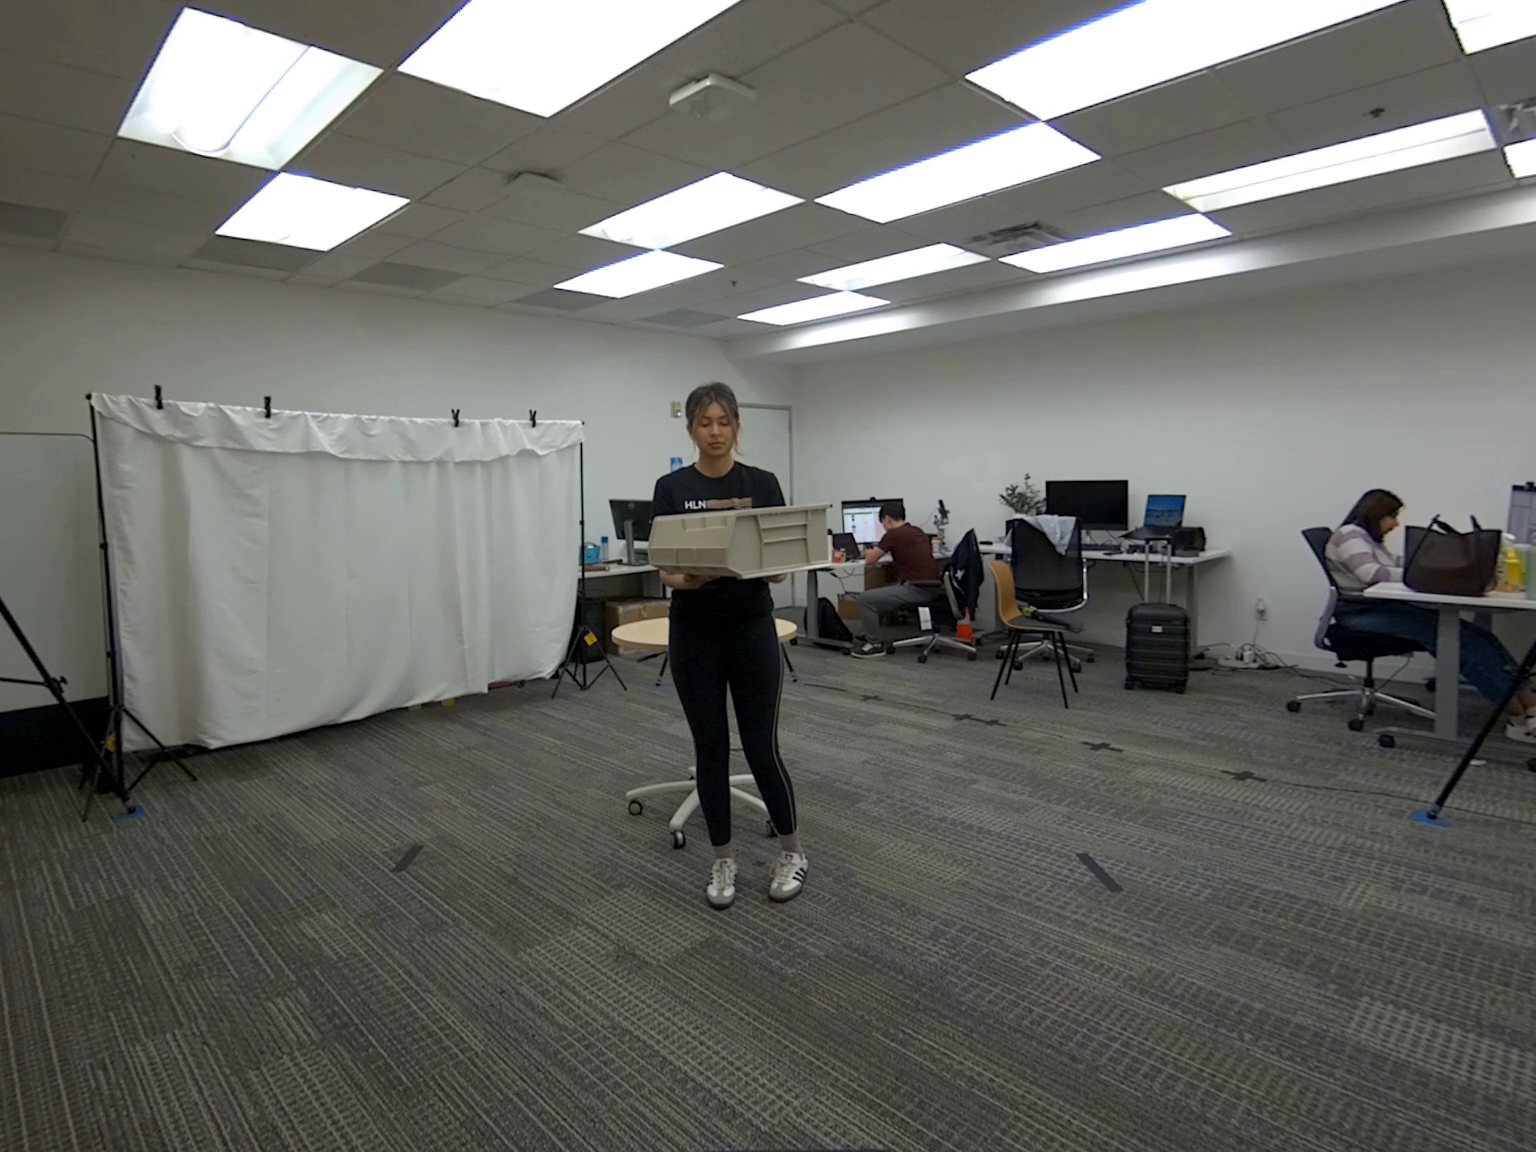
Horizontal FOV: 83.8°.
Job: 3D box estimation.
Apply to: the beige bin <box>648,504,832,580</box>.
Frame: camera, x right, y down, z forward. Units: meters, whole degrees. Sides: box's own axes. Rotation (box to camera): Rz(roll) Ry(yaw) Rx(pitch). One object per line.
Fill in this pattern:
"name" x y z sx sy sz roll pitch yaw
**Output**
"beige bin" -0.091 -0.096 2.489 0.368 0.188 0.434 -6 4 -35
